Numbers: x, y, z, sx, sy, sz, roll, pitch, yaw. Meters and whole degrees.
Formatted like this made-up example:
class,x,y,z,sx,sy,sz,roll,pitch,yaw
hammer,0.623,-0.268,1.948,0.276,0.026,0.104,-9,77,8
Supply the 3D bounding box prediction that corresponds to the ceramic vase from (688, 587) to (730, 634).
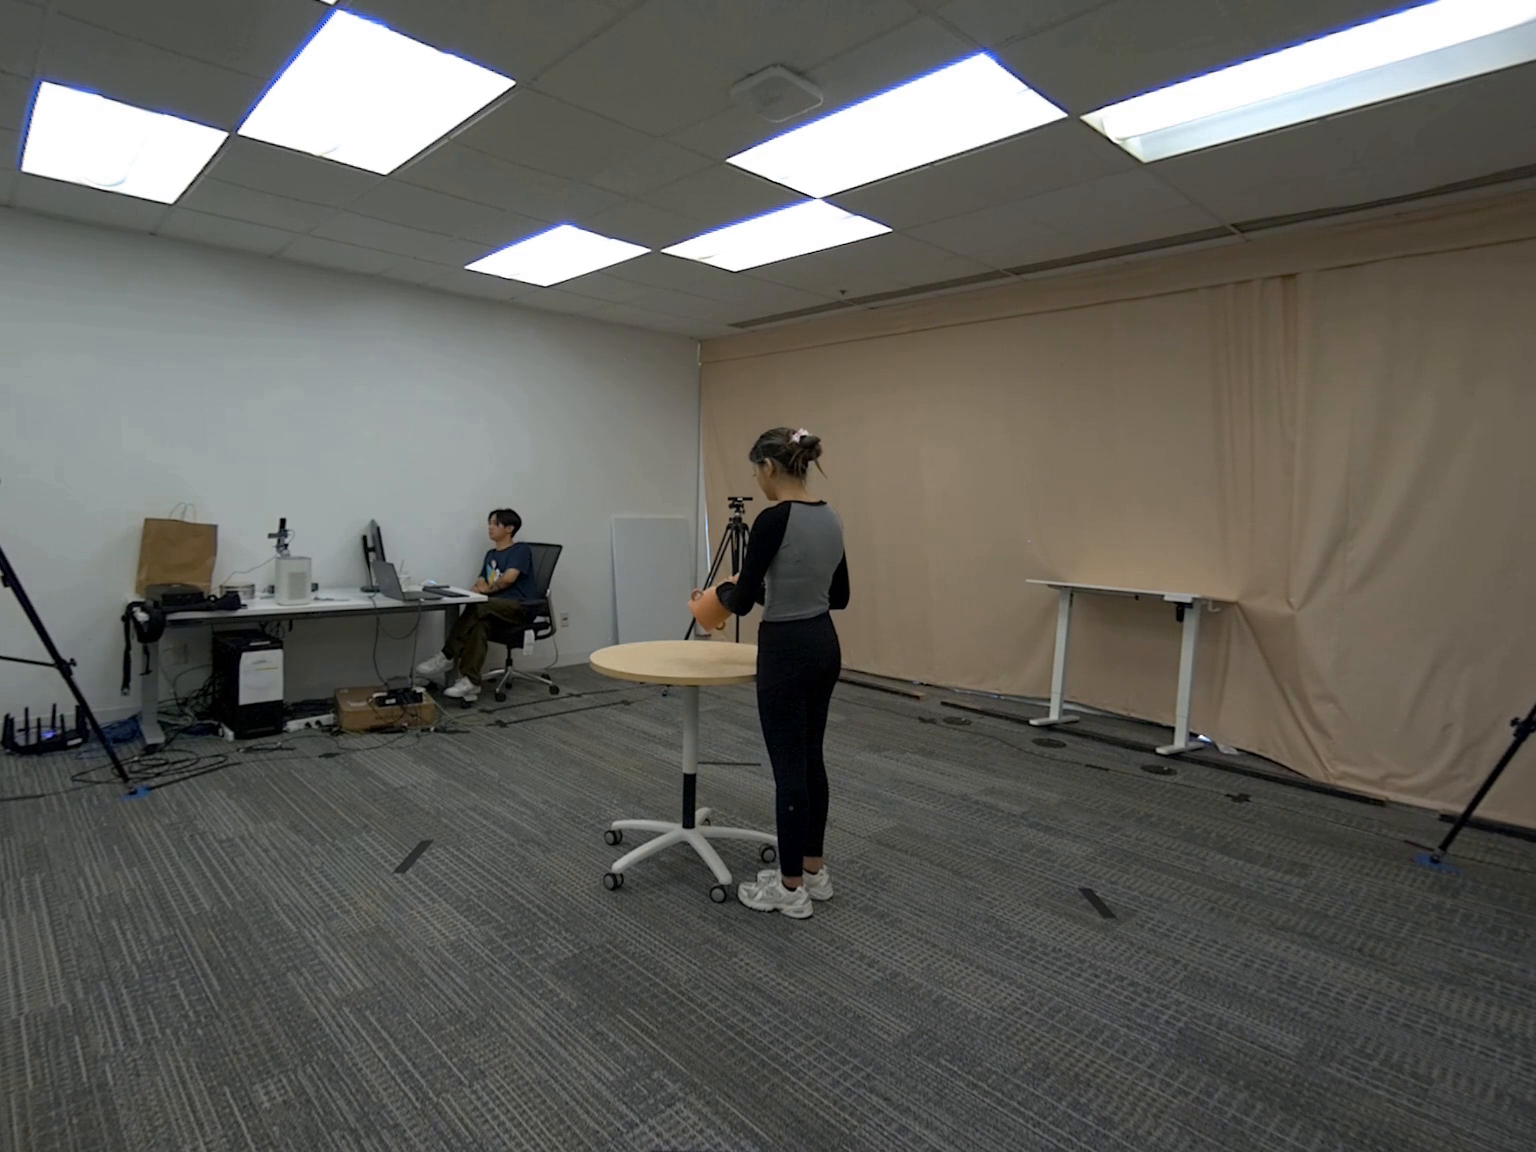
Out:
class,x,y,z,sx,sy,sz,roll,pitch,yaw
ceramic vase,-0.182,0.090,3.080,0.220,0.138,0.155,-34,-23,5
